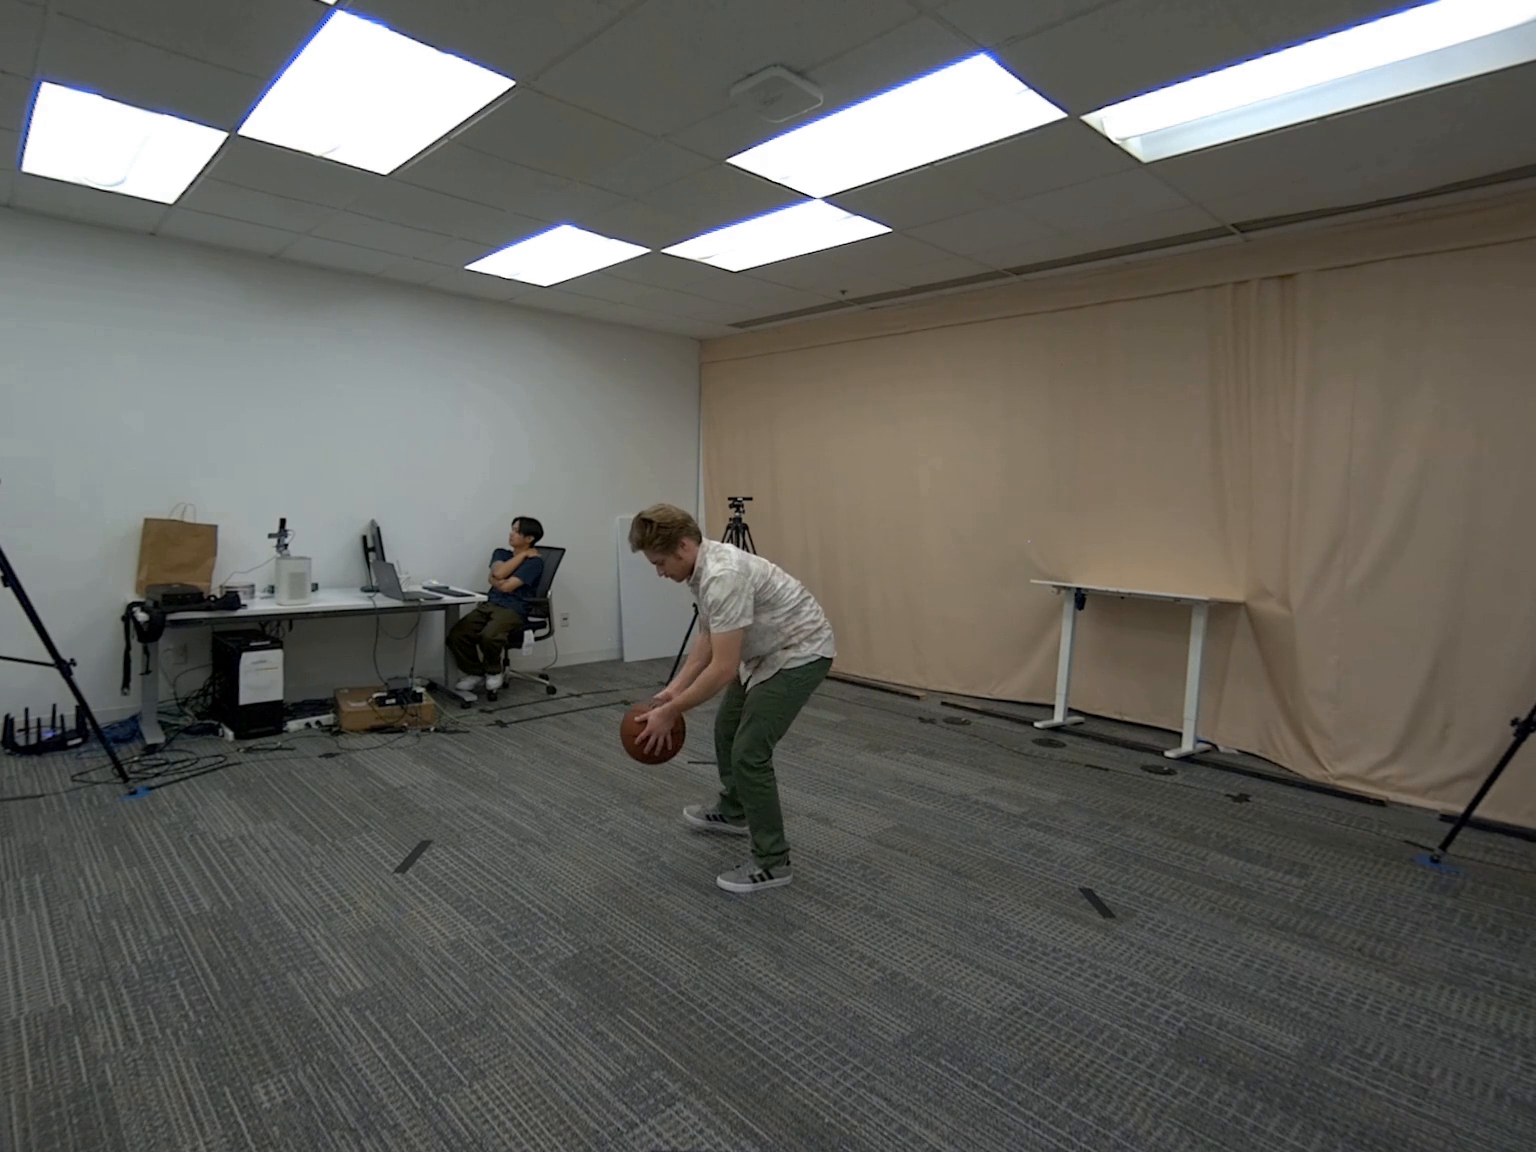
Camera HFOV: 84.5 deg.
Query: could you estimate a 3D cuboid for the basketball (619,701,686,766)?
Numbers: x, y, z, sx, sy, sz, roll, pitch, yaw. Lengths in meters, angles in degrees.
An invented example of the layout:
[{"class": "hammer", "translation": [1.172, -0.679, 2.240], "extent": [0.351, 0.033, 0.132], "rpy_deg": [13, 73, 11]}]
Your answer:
[{"class": "basketball", "translation": [-0.418, 0.556, 3.061], "extent": [0.236, 0.235, 0.237], "rpy_deg": [1, 4, -1]}]
